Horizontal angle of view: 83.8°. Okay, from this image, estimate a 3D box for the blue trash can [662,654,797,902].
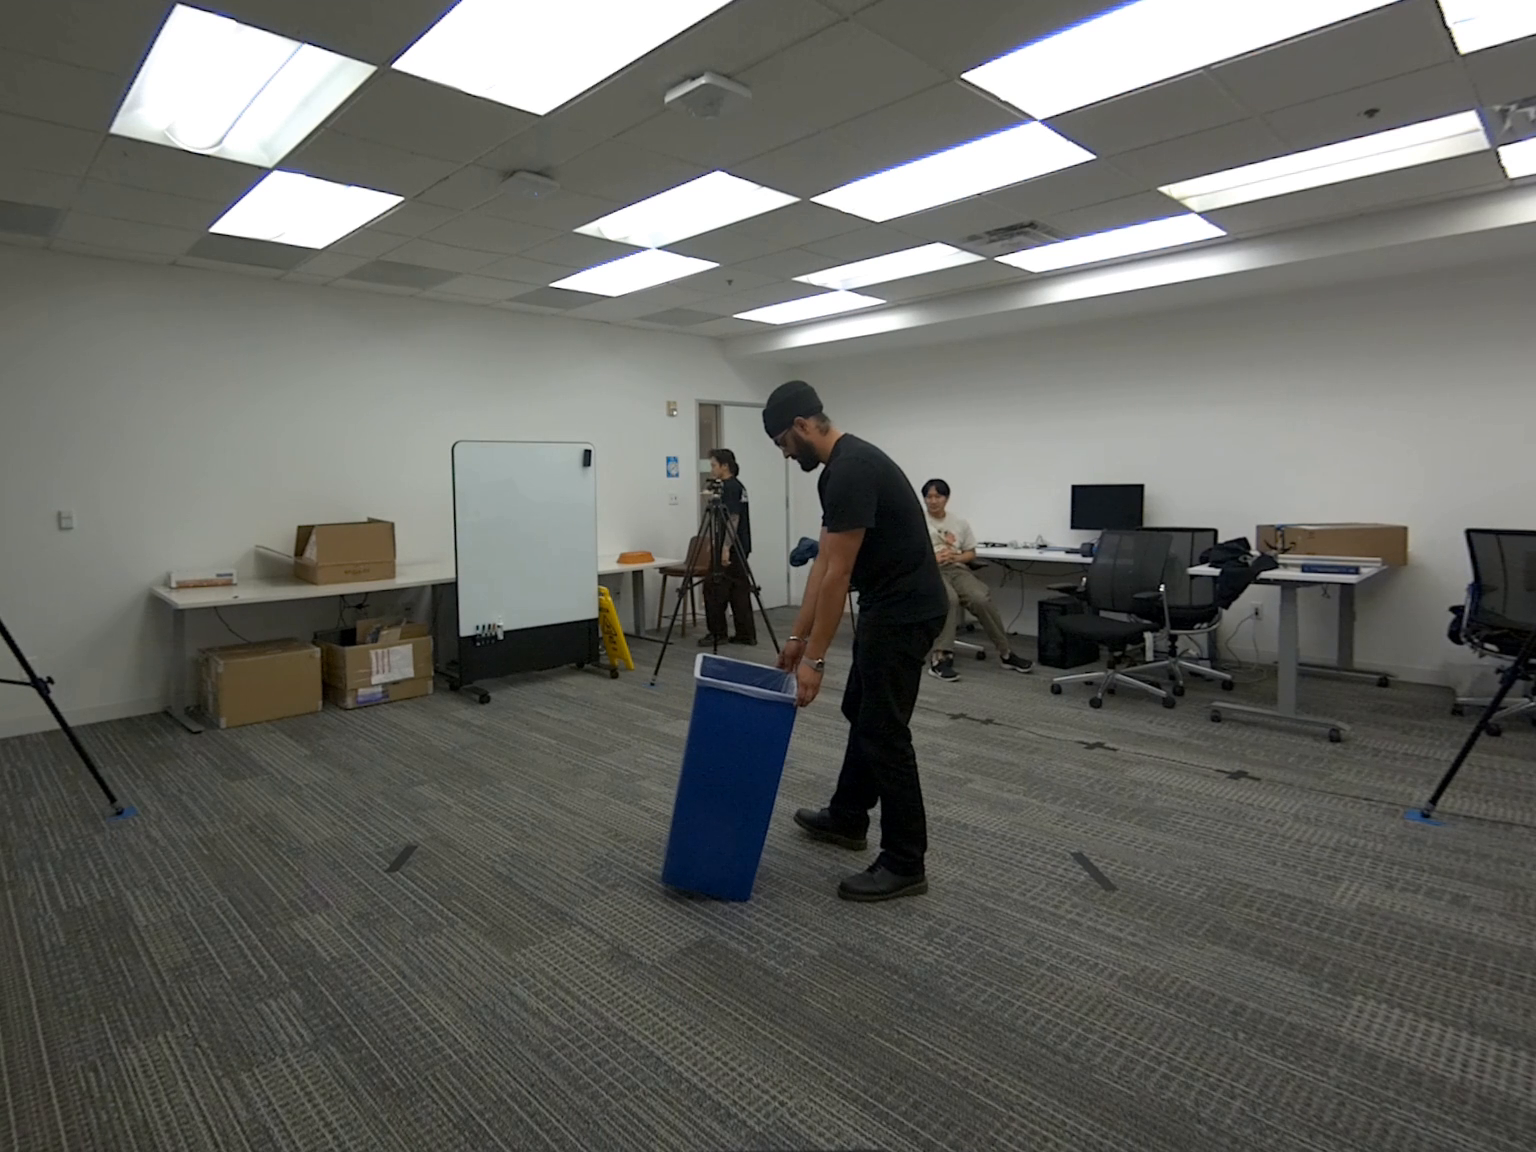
[{"bbox_3d":[-0.122,0.687,2.950,0.373,0.711,0.381,10,5,-4],"label":"blue trash can"}]
